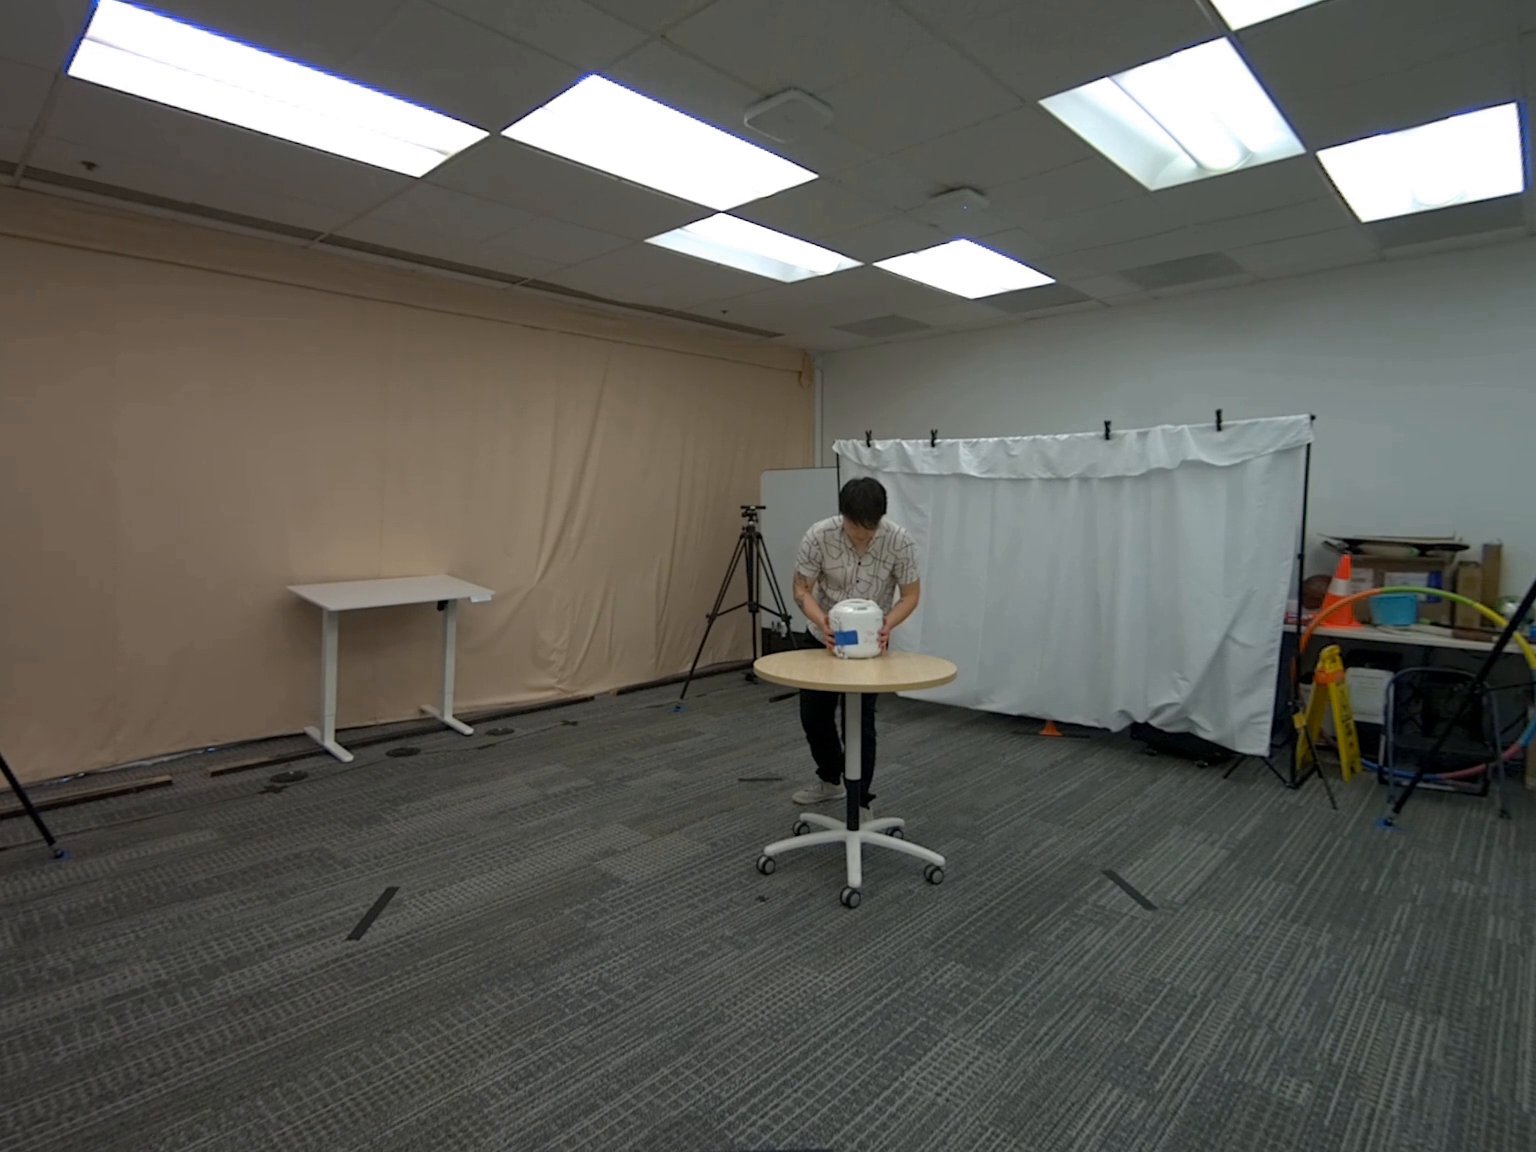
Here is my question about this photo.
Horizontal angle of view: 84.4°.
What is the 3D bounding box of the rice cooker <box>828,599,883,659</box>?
[{"bbox_3d":[0.355,0.208,3.433,0.221,0.232,0.217,1,4,2],"label":"rice cooker"}]
